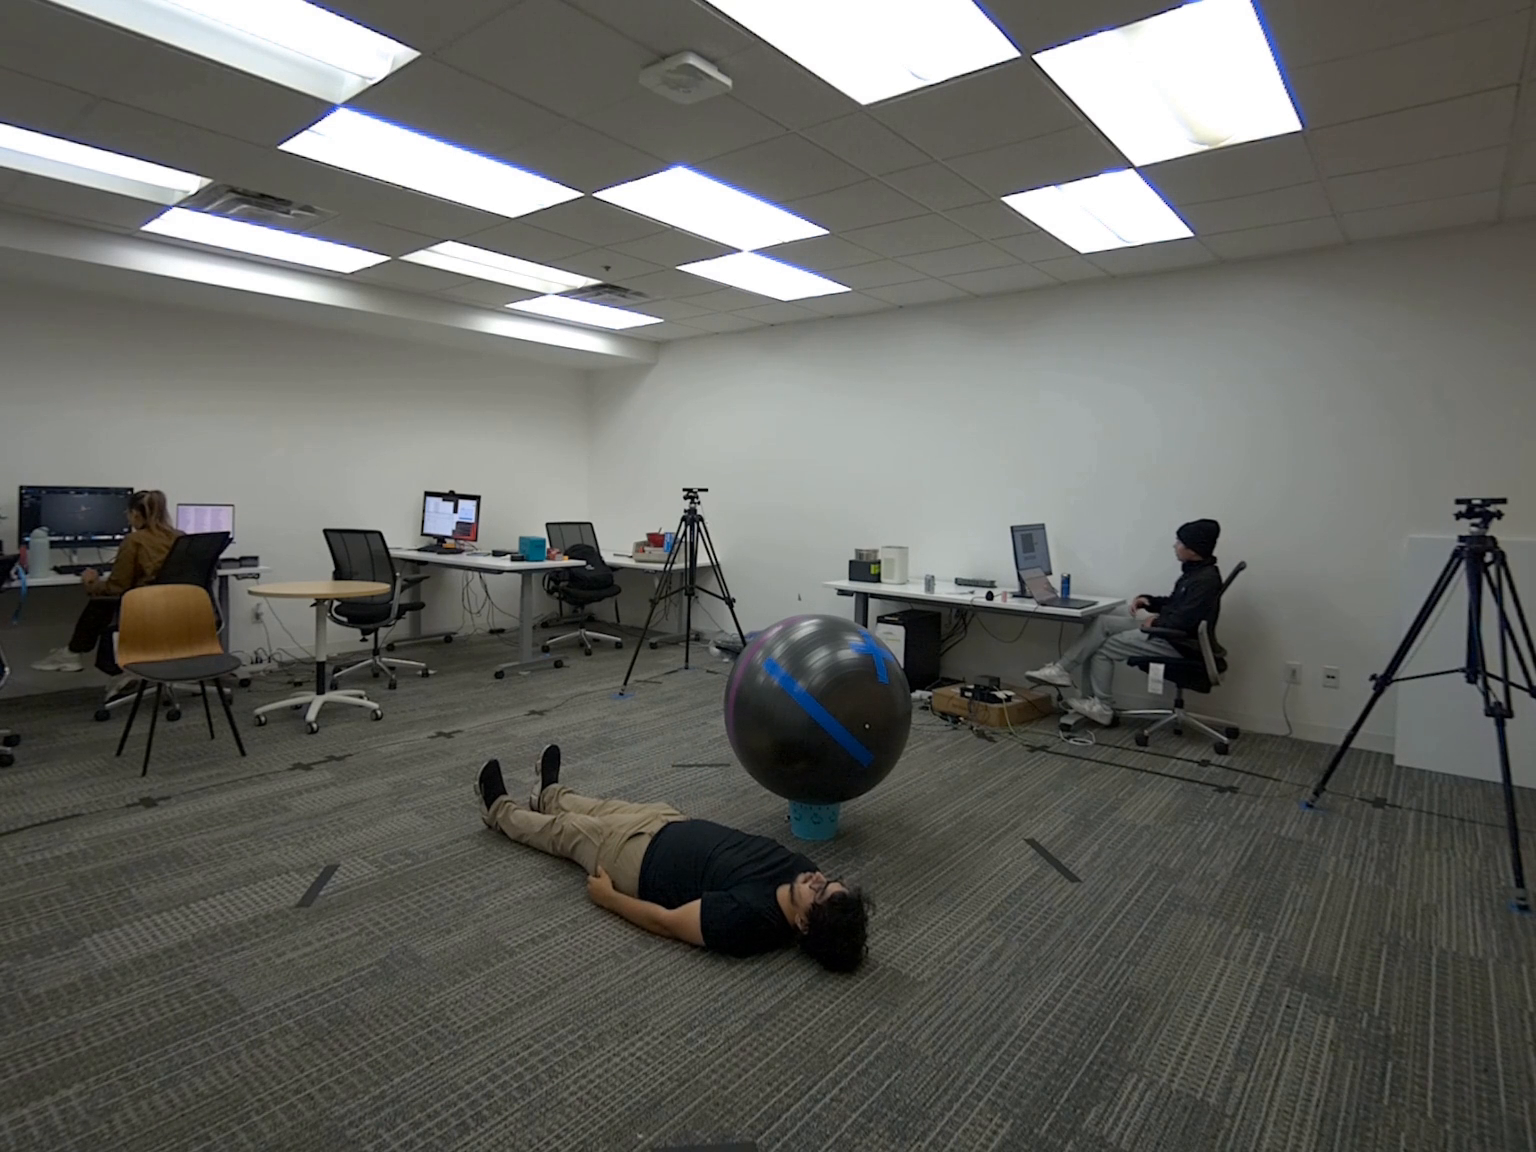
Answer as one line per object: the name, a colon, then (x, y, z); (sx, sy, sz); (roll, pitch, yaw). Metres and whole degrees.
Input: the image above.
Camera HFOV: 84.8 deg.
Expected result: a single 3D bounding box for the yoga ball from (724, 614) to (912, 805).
yoga ball: (0.191, 0.537, 3.462); (0.757, 0.756, 0.761); (0, 4, -2)
